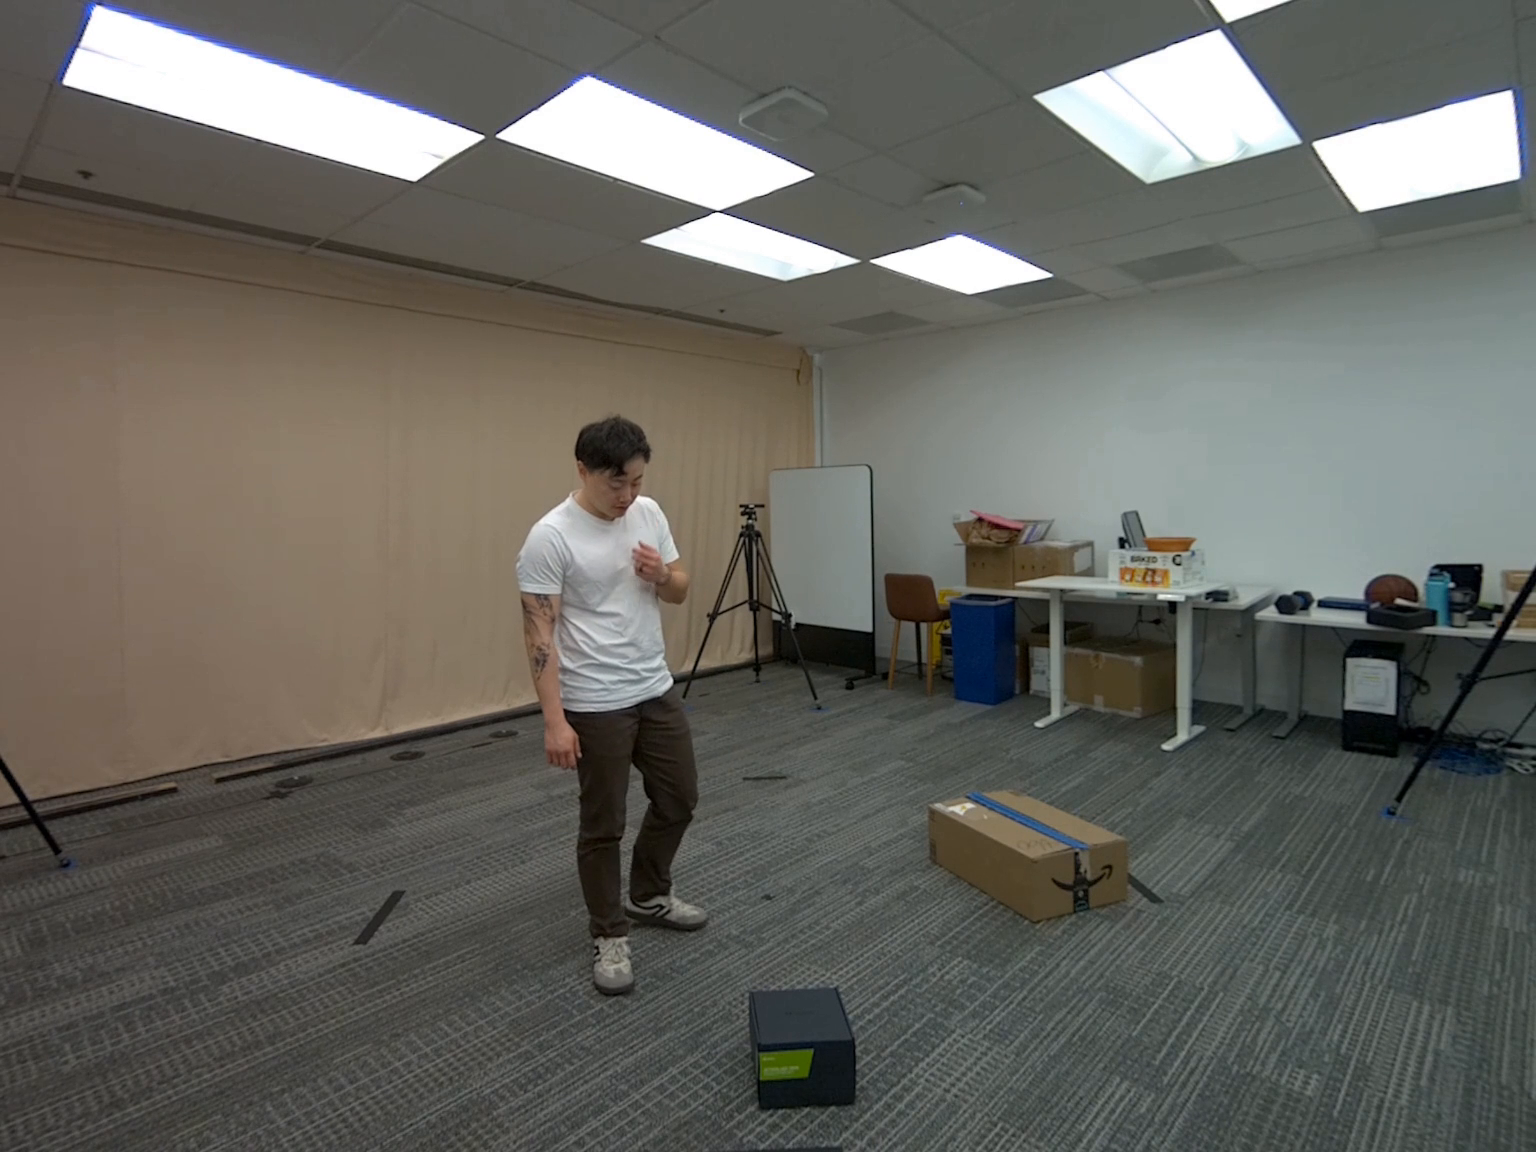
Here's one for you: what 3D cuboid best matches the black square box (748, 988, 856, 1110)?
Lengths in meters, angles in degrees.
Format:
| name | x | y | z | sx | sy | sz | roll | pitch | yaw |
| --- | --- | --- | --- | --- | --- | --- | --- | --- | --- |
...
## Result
| name | x | y | z | sx | sy | sz | roll | pitch | yaw |
| --- | --- | --- | --- | --- | --- | --- | --- | --- | --- |
| black square box | 0.082 | 1.134 | 2.040 | 0.227 | 0.155 | 0.218 | -1 | 4 | -5 |
